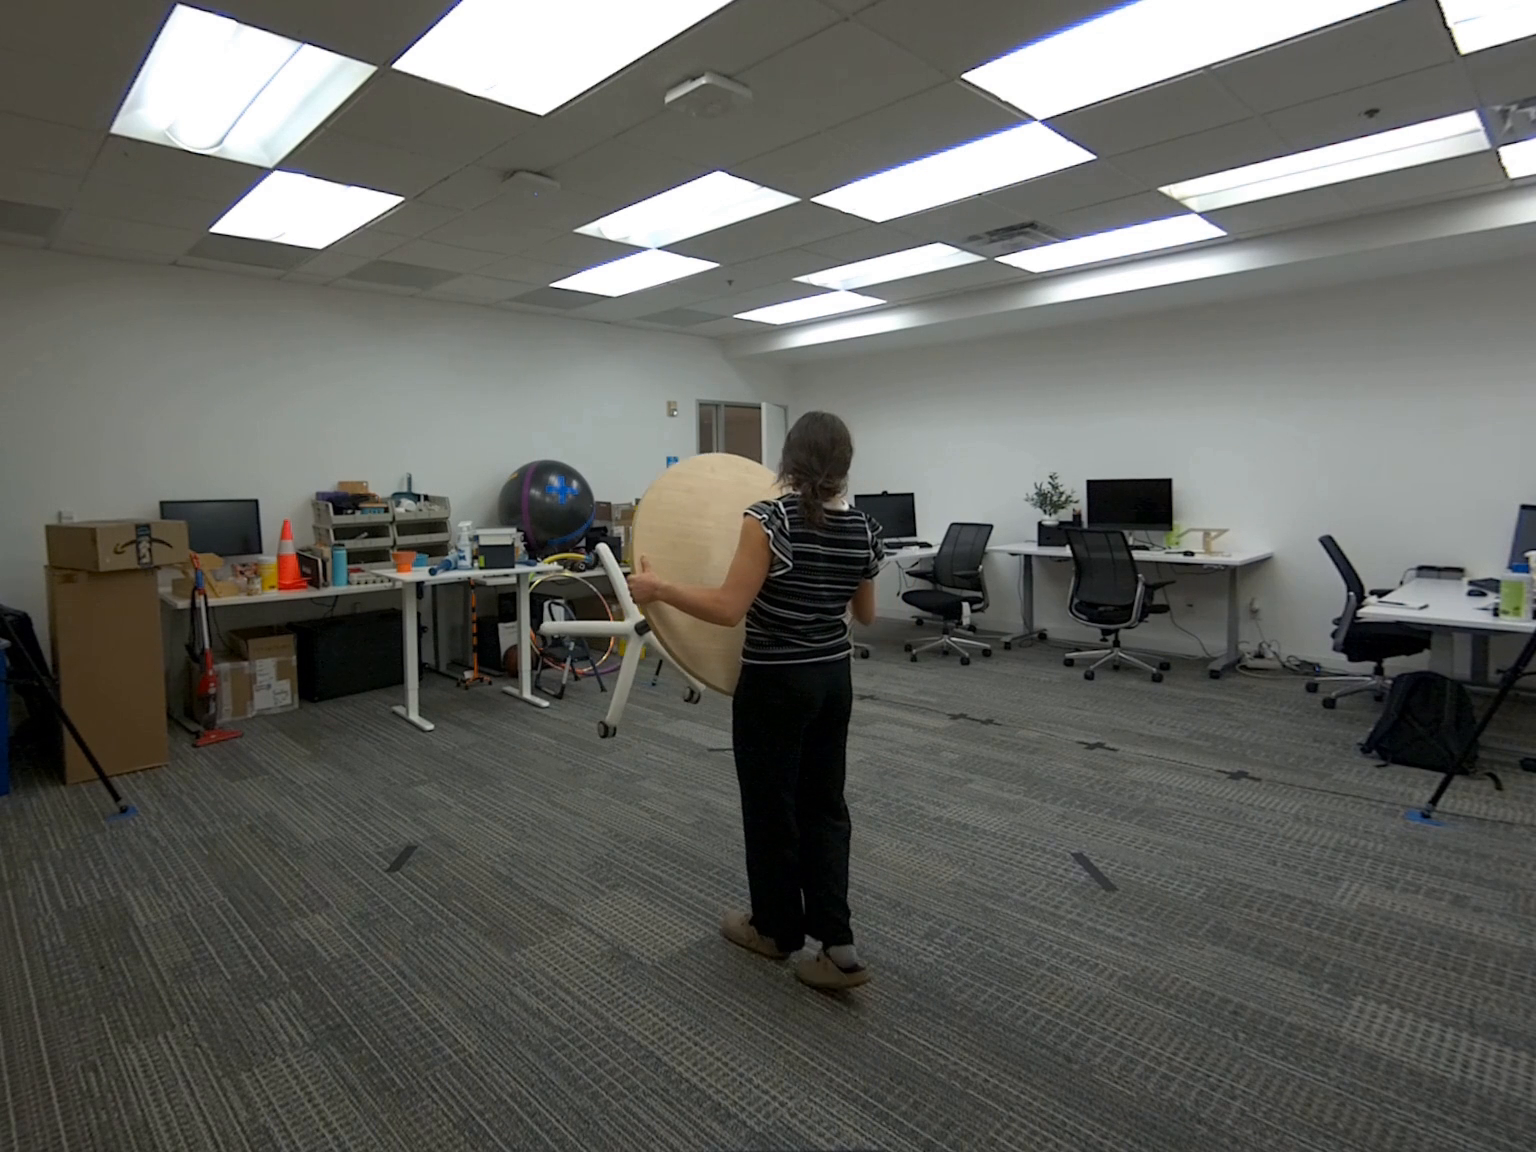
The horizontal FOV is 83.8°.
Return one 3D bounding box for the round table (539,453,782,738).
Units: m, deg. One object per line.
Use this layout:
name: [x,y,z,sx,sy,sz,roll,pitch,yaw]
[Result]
round table: [-0.292,0.121,2.843,0.744,0.776,0.802,-5,-17,-39]
